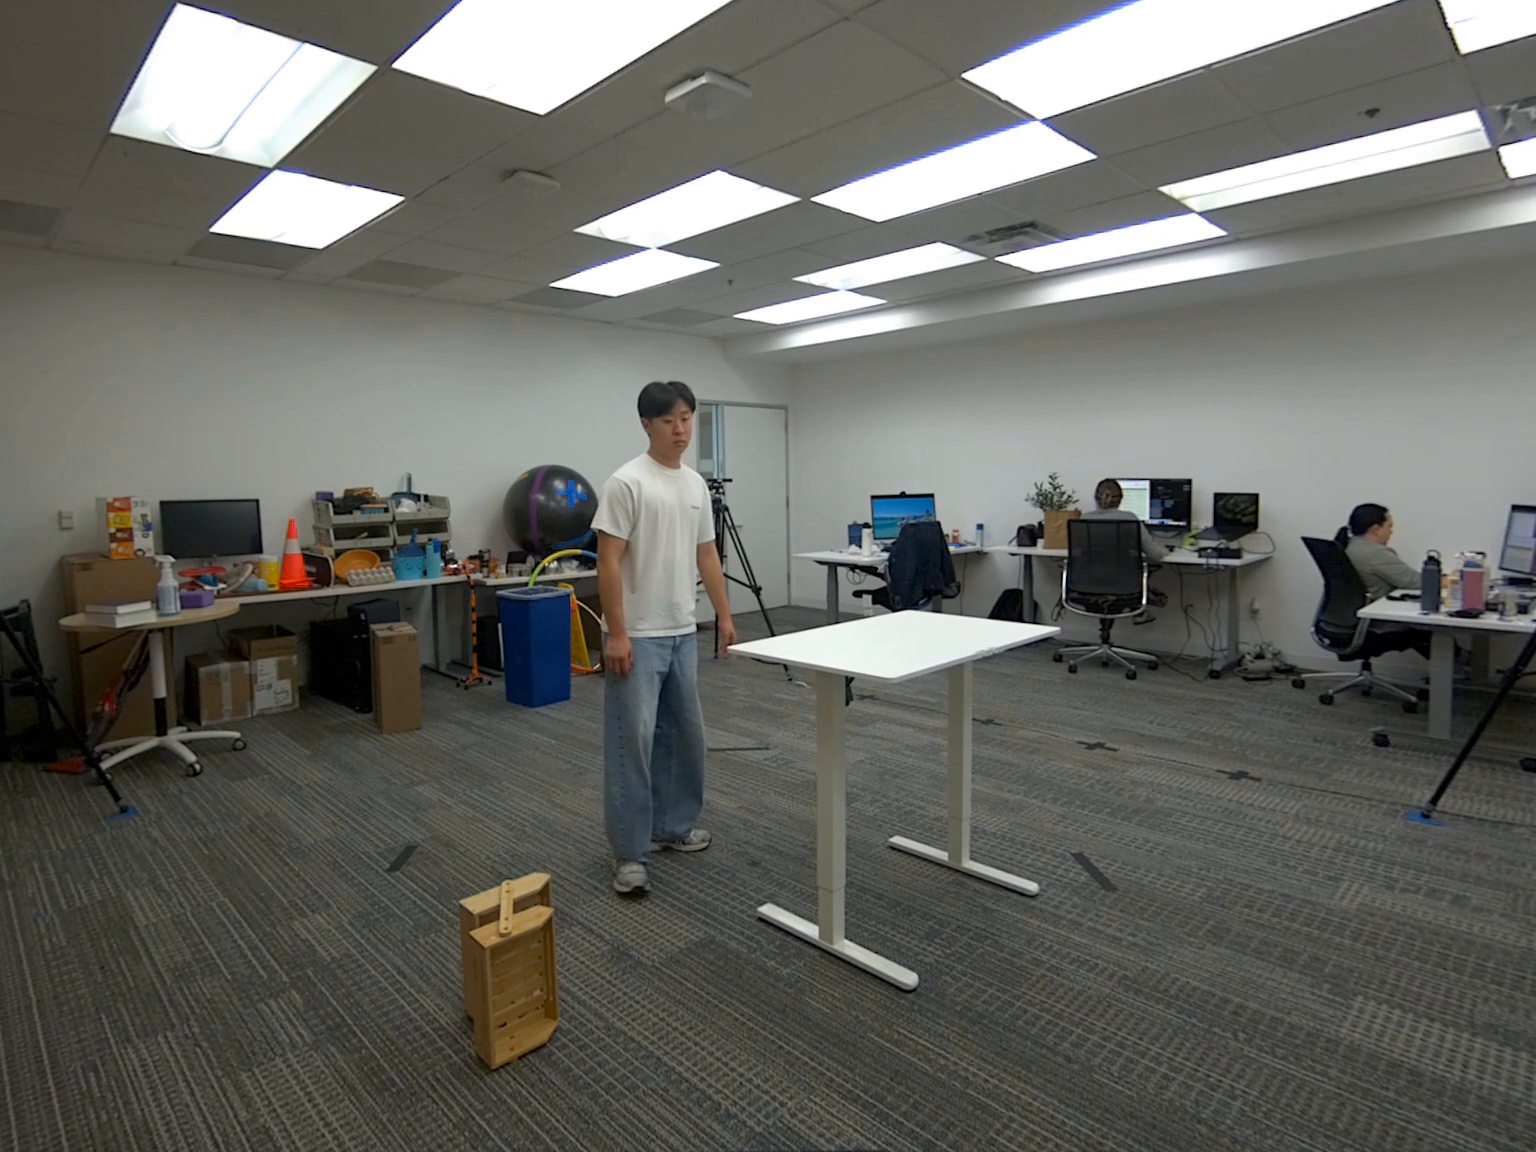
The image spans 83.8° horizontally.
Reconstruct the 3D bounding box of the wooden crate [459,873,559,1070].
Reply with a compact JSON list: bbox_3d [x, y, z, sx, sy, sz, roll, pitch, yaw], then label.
[{"bbox_3d":[-0.638,1.002,2.203,0.294,0.323,0.281,-7,7,-43],"label":"wooden crate"}]
